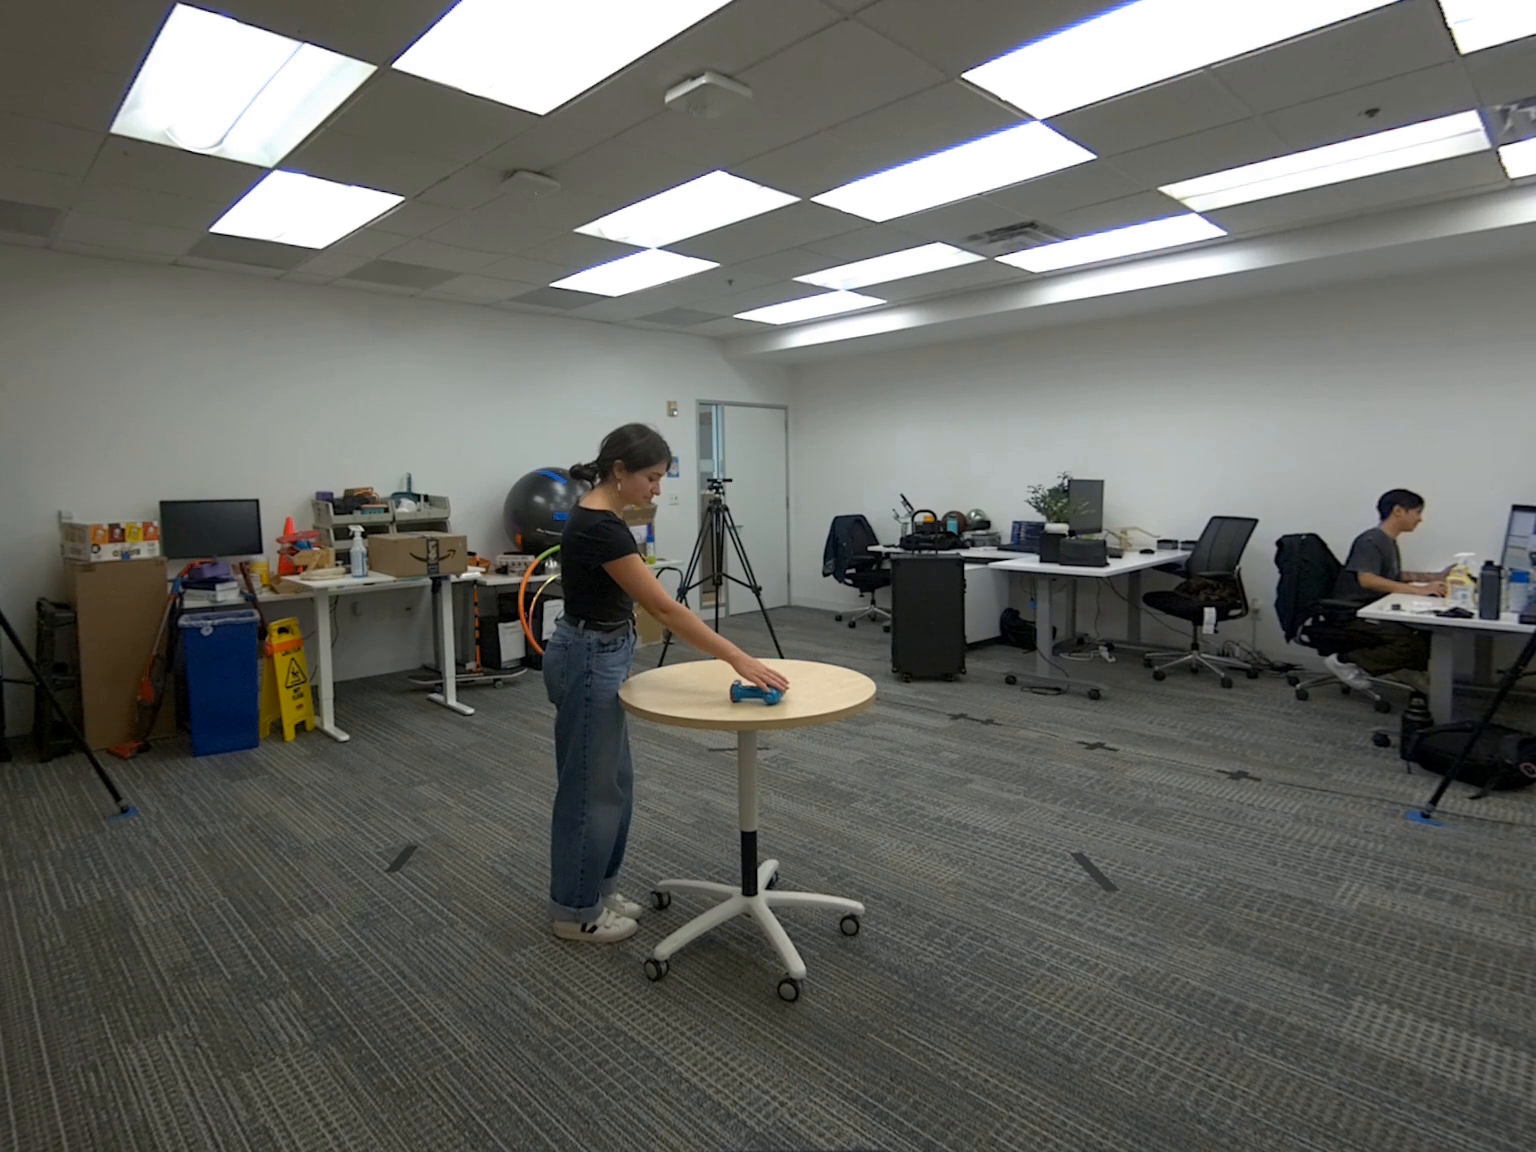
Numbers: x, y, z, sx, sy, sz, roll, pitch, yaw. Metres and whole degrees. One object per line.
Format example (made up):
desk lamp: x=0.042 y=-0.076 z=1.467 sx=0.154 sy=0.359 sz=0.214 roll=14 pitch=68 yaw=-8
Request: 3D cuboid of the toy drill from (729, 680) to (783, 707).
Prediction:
toy drill: x=-0.022 y=0.312 z=2.384 sx=0.148 sy=0.060 sz=0.169 roll=0 pitch=16 yaw=16
